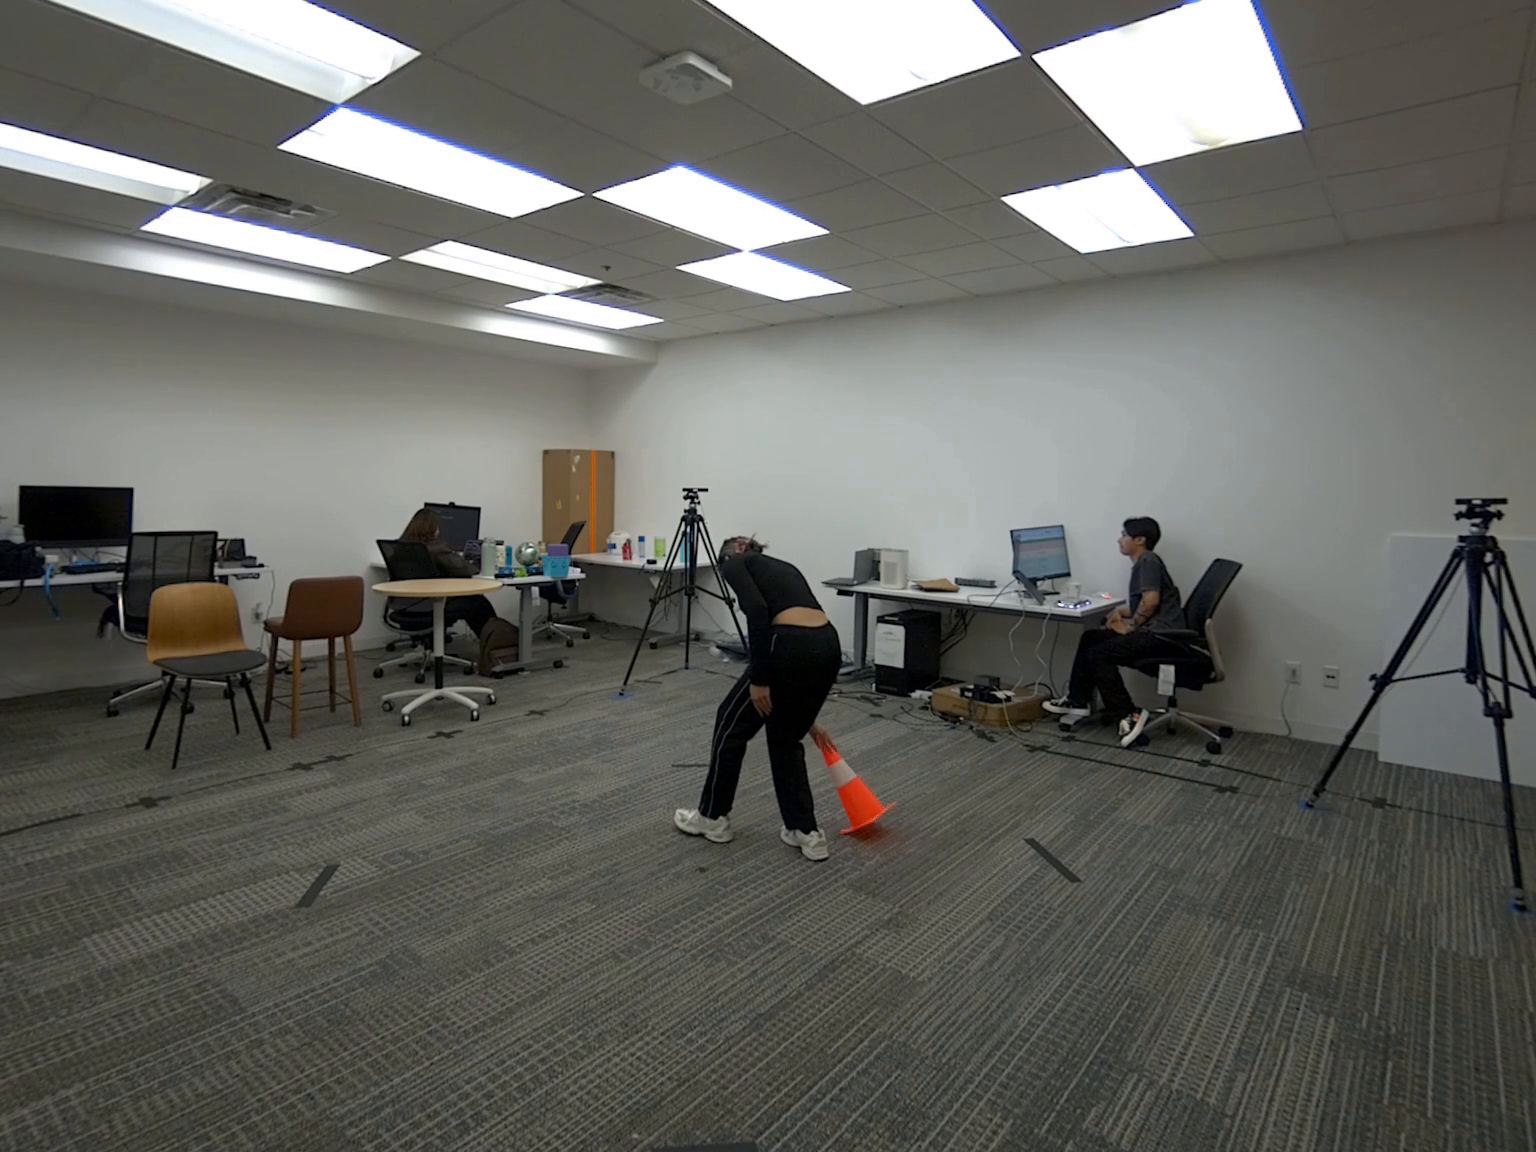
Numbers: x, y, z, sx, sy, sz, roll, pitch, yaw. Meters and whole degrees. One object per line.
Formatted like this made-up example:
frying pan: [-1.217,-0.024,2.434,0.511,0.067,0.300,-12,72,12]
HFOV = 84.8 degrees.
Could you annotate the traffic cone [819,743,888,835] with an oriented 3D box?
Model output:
traffic cone: [0.310,0.838,3.537,0.200,0.391,0.204,-17,-18,-38]
